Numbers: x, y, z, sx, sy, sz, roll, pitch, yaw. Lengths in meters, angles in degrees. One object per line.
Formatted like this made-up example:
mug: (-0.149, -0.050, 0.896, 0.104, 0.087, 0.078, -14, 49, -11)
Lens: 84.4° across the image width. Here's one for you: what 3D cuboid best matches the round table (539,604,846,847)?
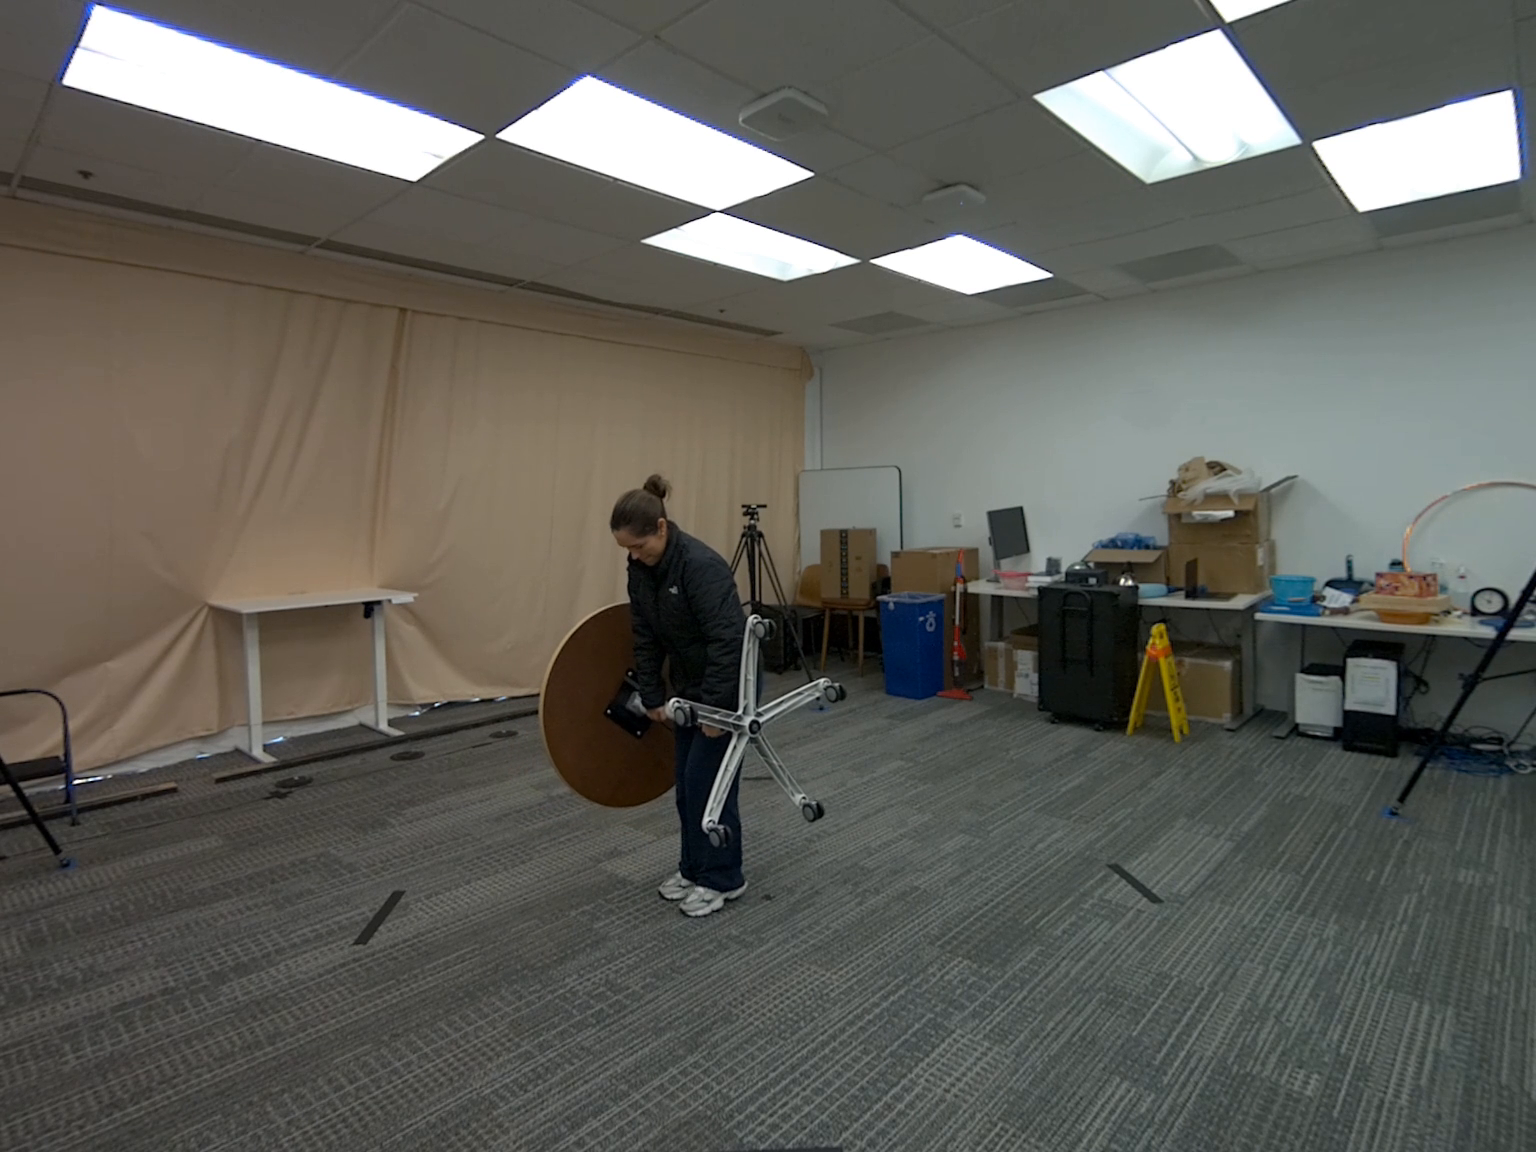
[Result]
round table: (-0.234, 0.490, 2.893, 0.761, 0.784, 0.811, -4, 2, -41)
